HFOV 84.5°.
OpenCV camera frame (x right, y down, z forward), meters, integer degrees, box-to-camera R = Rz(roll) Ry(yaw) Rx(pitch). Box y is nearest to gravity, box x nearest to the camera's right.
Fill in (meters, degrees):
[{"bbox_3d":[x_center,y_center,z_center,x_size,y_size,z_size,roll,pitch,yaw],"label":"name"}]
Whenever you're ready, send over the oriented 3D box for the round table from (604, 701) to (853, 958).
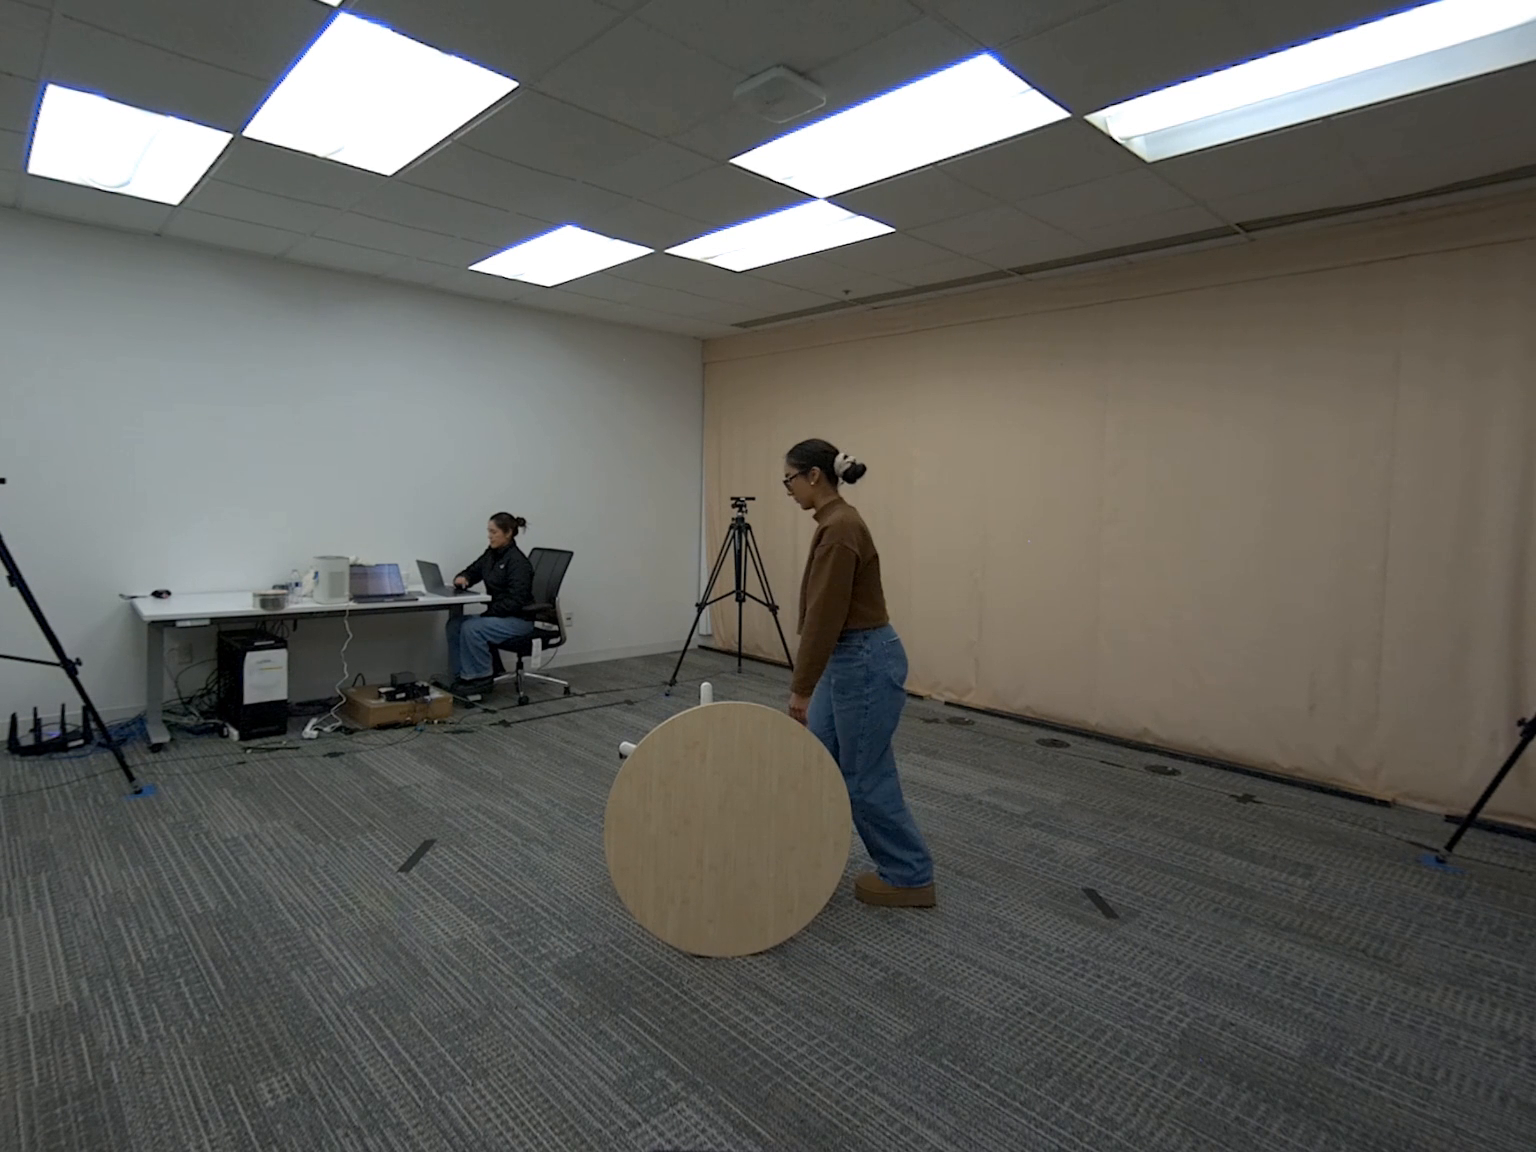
[{"bbox_3d":[-0.187,0.782,2.961,0.759,0.765,0.798,1,-1,-8],"label":"round table"}]
